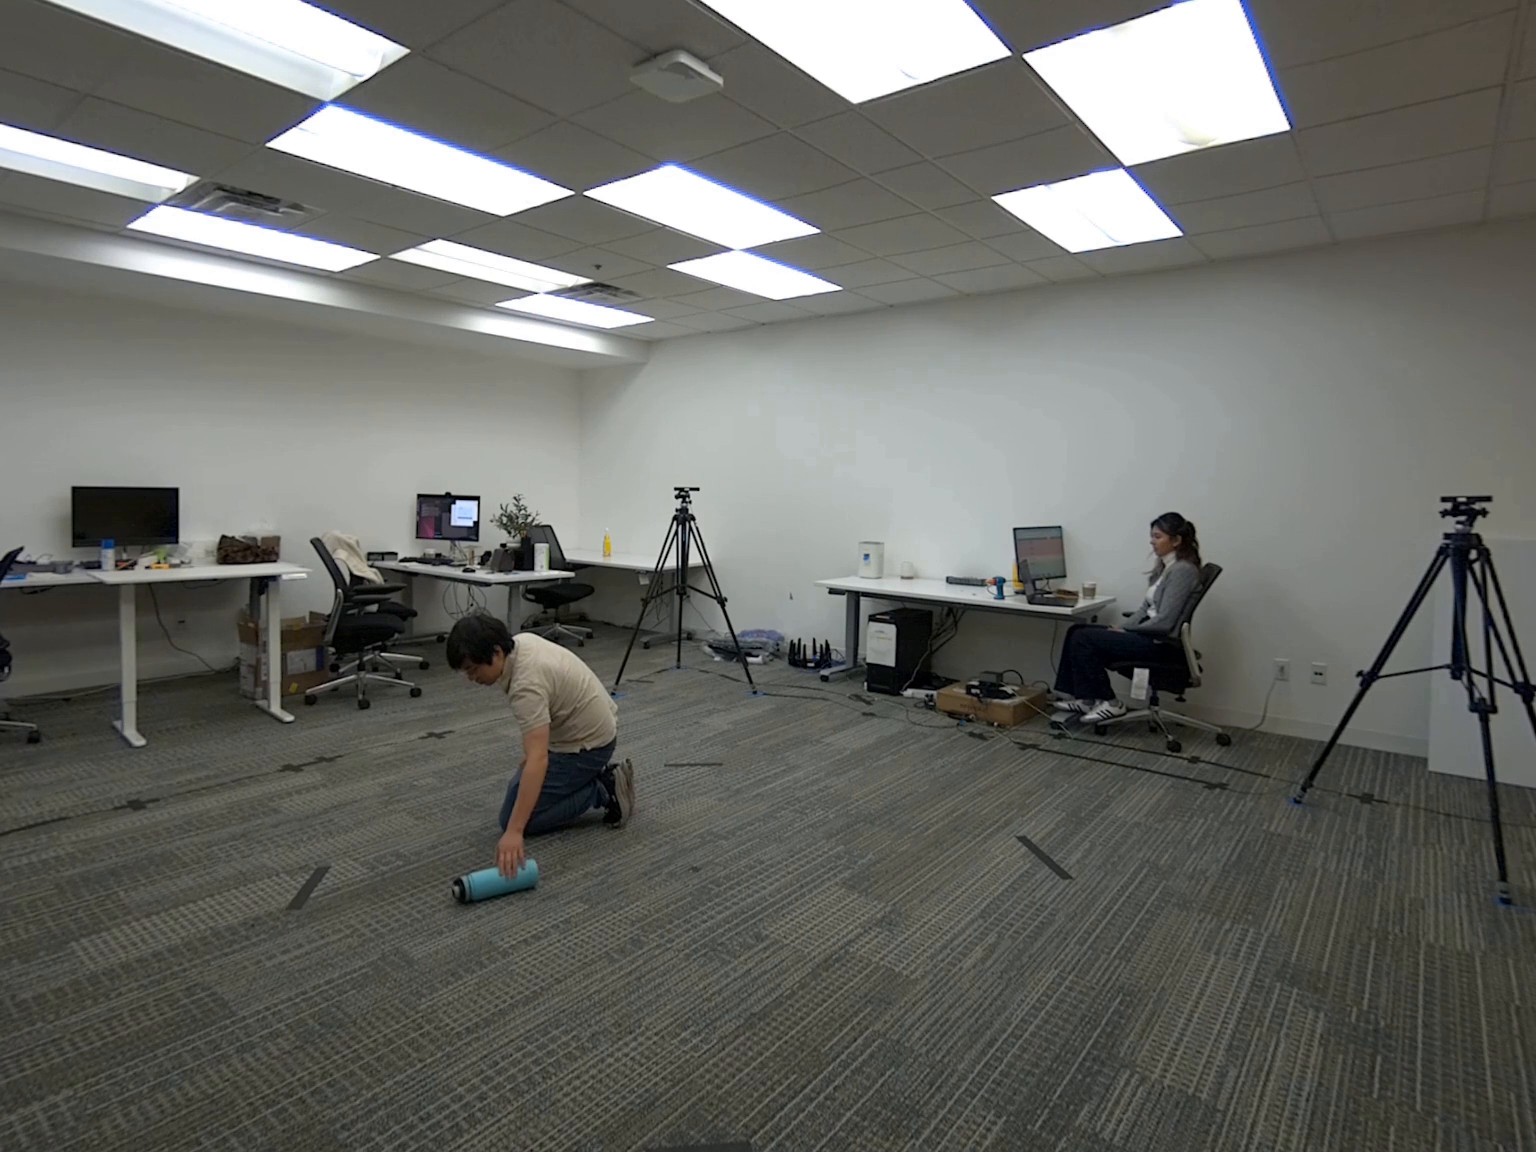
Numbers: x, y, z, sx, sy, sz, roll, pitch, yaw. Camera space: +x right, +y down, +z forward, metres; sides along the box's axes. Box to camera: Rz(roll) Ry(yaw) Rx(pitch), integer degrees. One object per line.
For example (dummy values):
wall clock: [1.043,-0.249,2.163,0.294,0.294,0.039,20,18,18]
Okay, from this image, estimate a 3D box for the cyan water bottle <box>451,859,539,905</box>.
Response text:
cyan water bottle: [-0.949,1.035,2.893,0.276,0.092,0.095,-5,7,-32]
